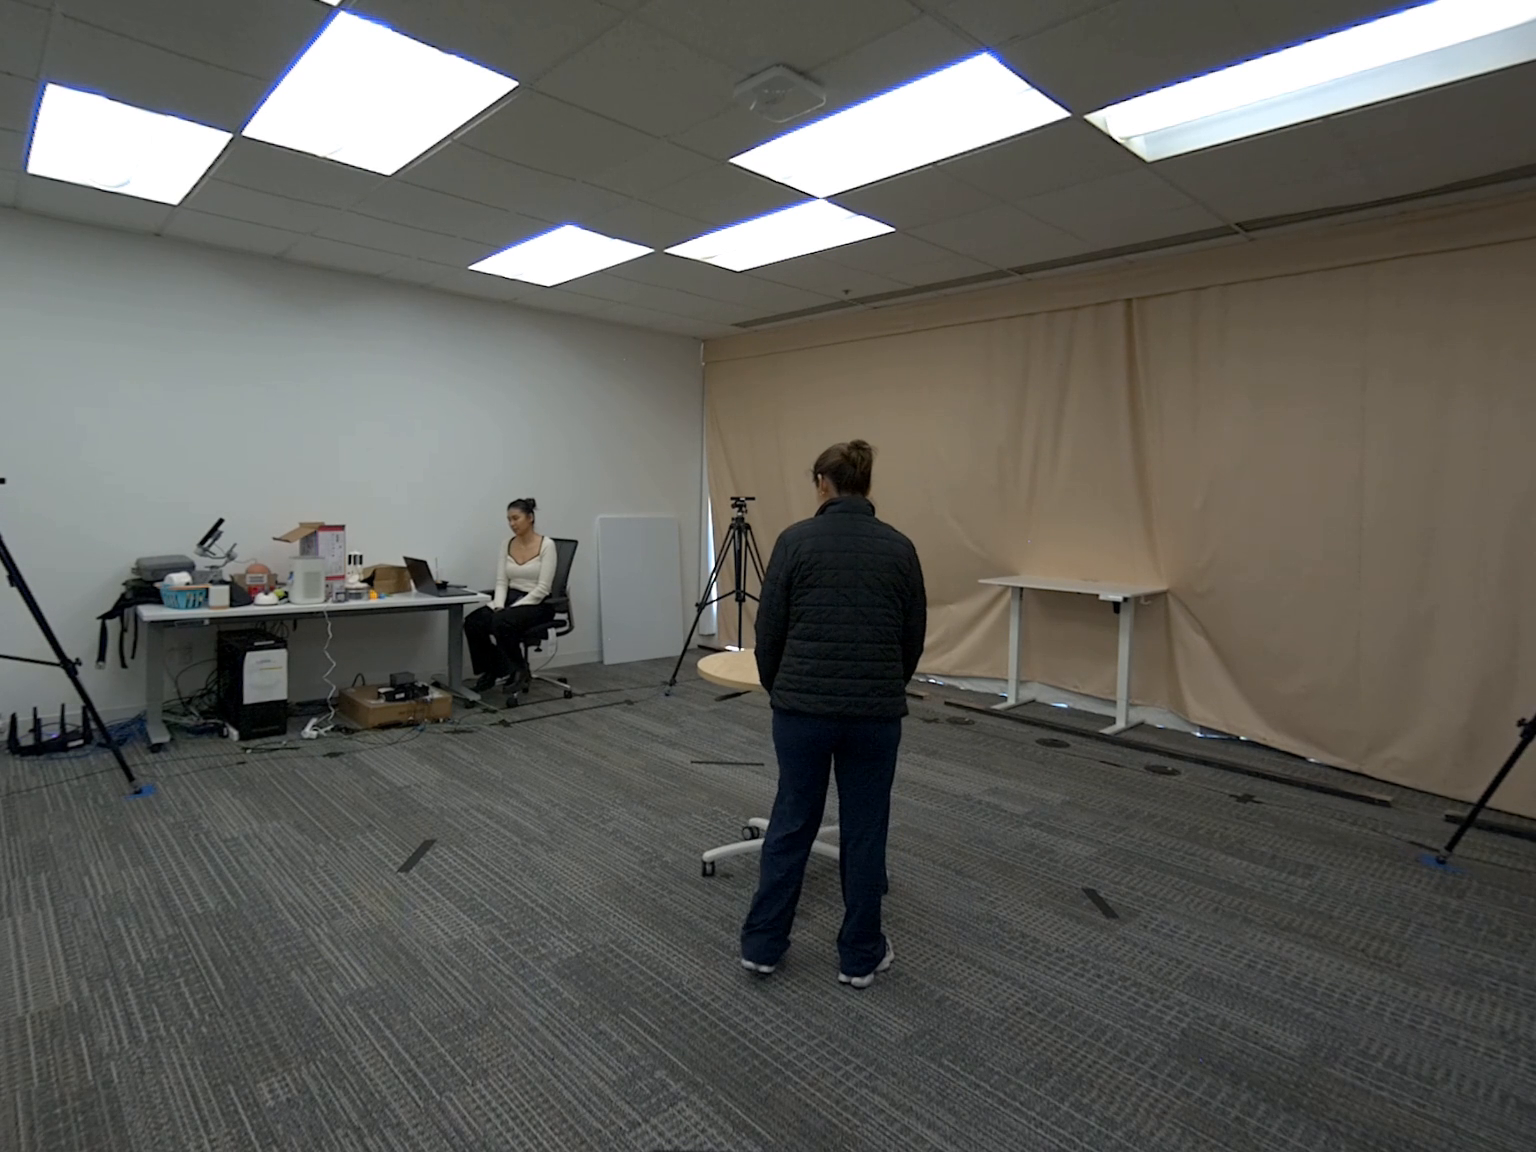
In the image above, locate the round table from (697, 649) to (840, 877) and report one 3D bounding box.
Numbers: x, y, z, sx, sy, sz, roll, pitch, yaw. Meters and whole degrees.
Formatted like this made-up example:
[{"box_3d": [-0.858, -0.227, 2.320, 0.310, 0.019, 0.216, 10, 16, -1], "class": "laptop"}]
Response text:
[{"box_3d": [0.103, 0.722, 3.102, 0.784, 0.785, 0.787, 1, 4, -1], "class": "round table"}]
